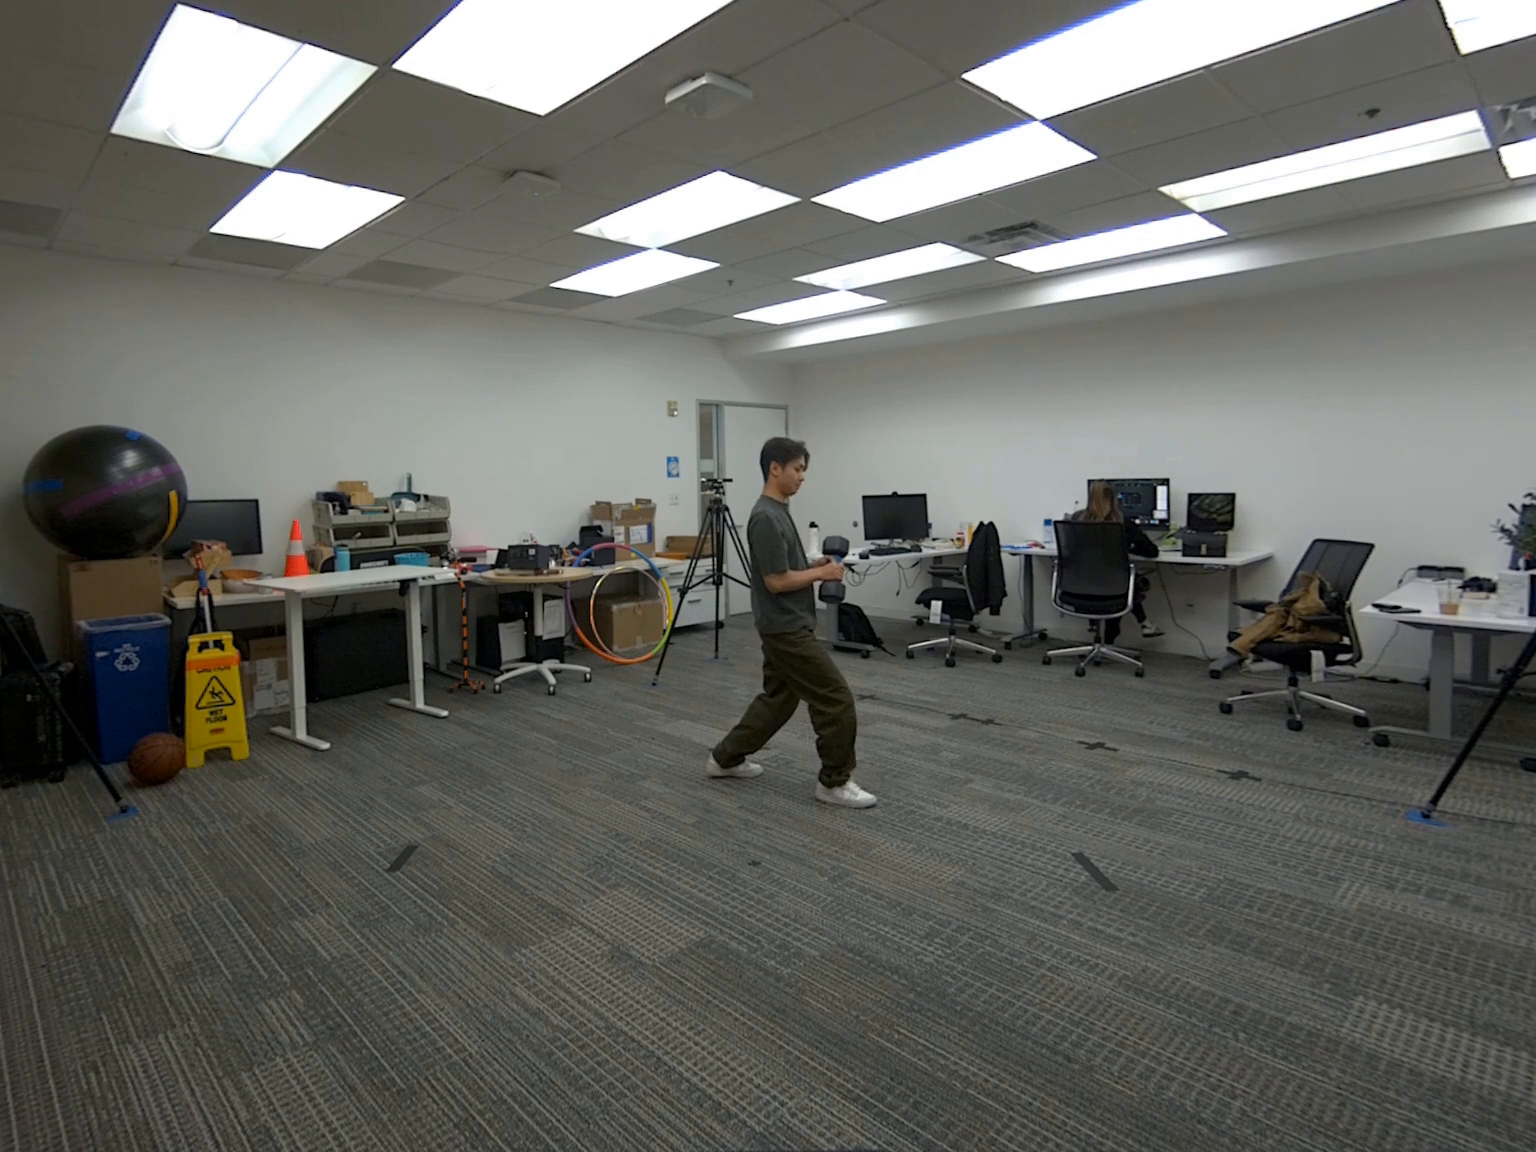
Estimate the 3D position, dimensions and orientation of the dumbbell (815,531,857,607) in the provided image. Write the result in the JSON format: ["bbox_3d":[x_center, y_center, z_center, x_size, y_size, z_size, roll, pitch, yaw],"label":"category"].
[{"bbox_3d":[0.293,-0.031,3.776,0.119,0.298,0.111,21,-23,-36],"label":"dumbbell"}]
